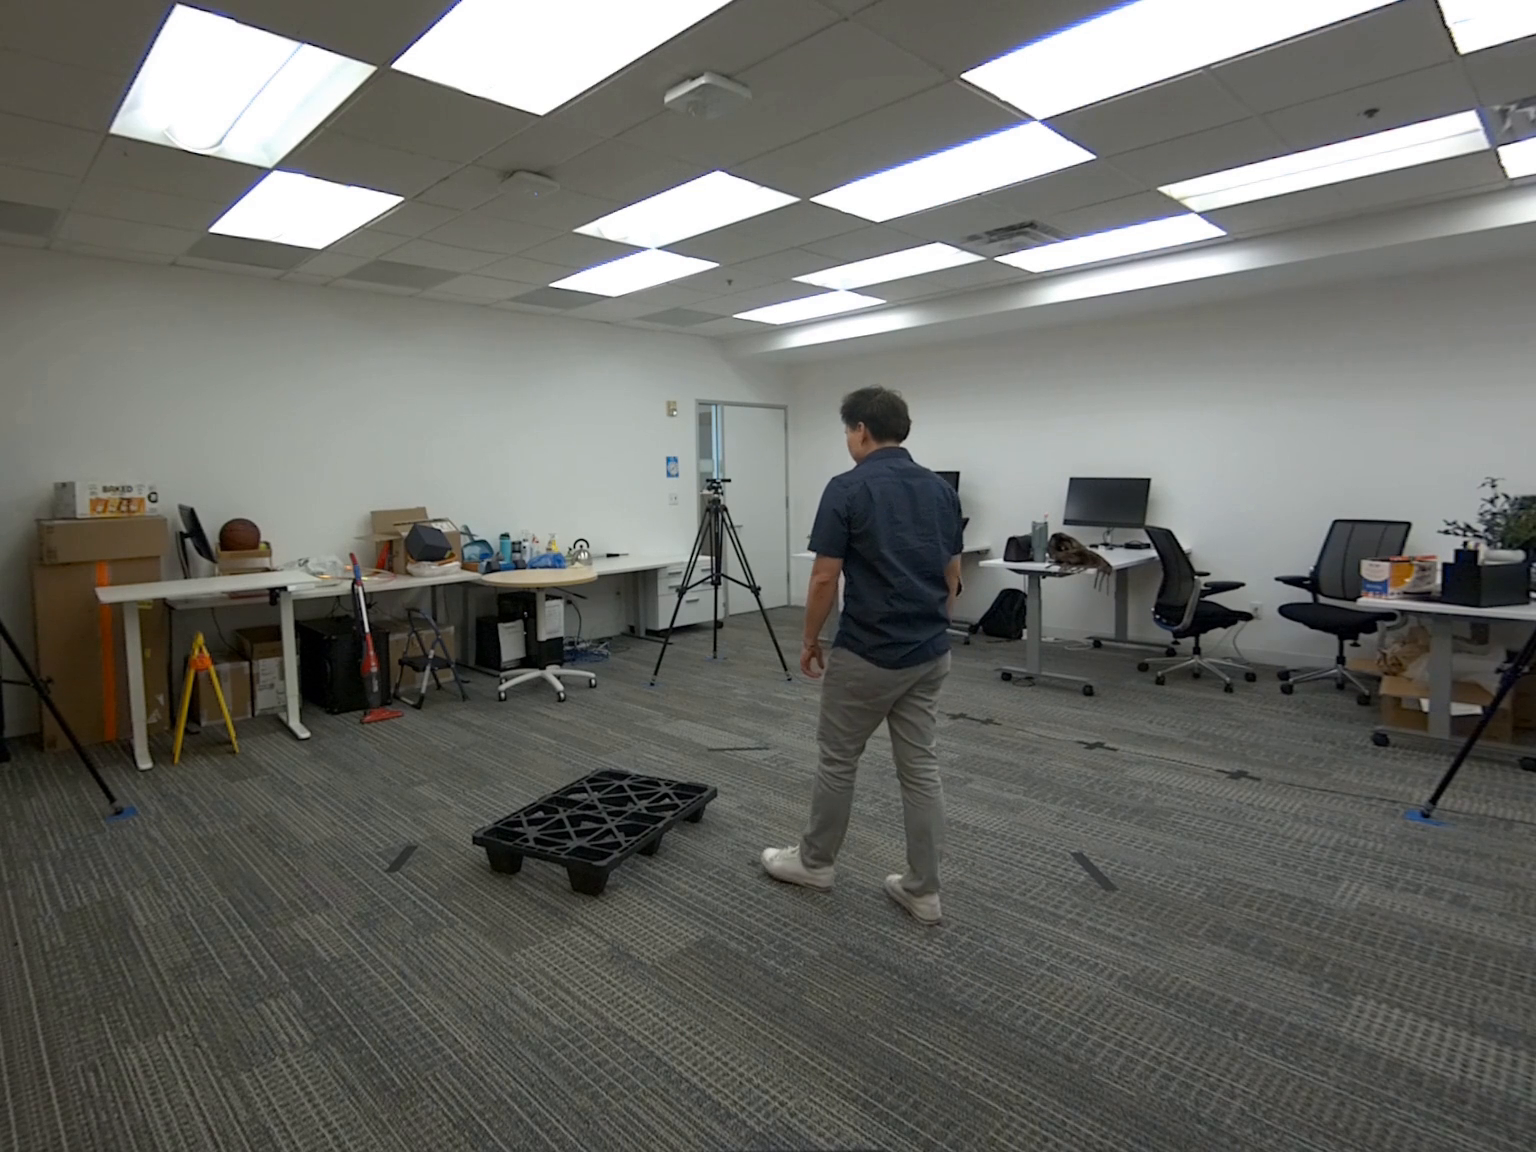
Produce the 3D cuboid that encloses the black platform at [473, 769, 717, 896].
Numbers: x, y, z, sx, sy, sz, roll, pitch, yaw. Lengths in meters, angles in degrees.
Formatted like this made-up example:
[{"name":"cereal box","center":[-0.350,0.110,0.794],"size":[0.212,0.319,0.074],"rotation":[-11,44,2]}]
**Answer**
[{"name":"black platform","center":[-0.629,0.962,3.304],"size":[0.620,0.142,0.790],"rotation":[2,7,26]}]
